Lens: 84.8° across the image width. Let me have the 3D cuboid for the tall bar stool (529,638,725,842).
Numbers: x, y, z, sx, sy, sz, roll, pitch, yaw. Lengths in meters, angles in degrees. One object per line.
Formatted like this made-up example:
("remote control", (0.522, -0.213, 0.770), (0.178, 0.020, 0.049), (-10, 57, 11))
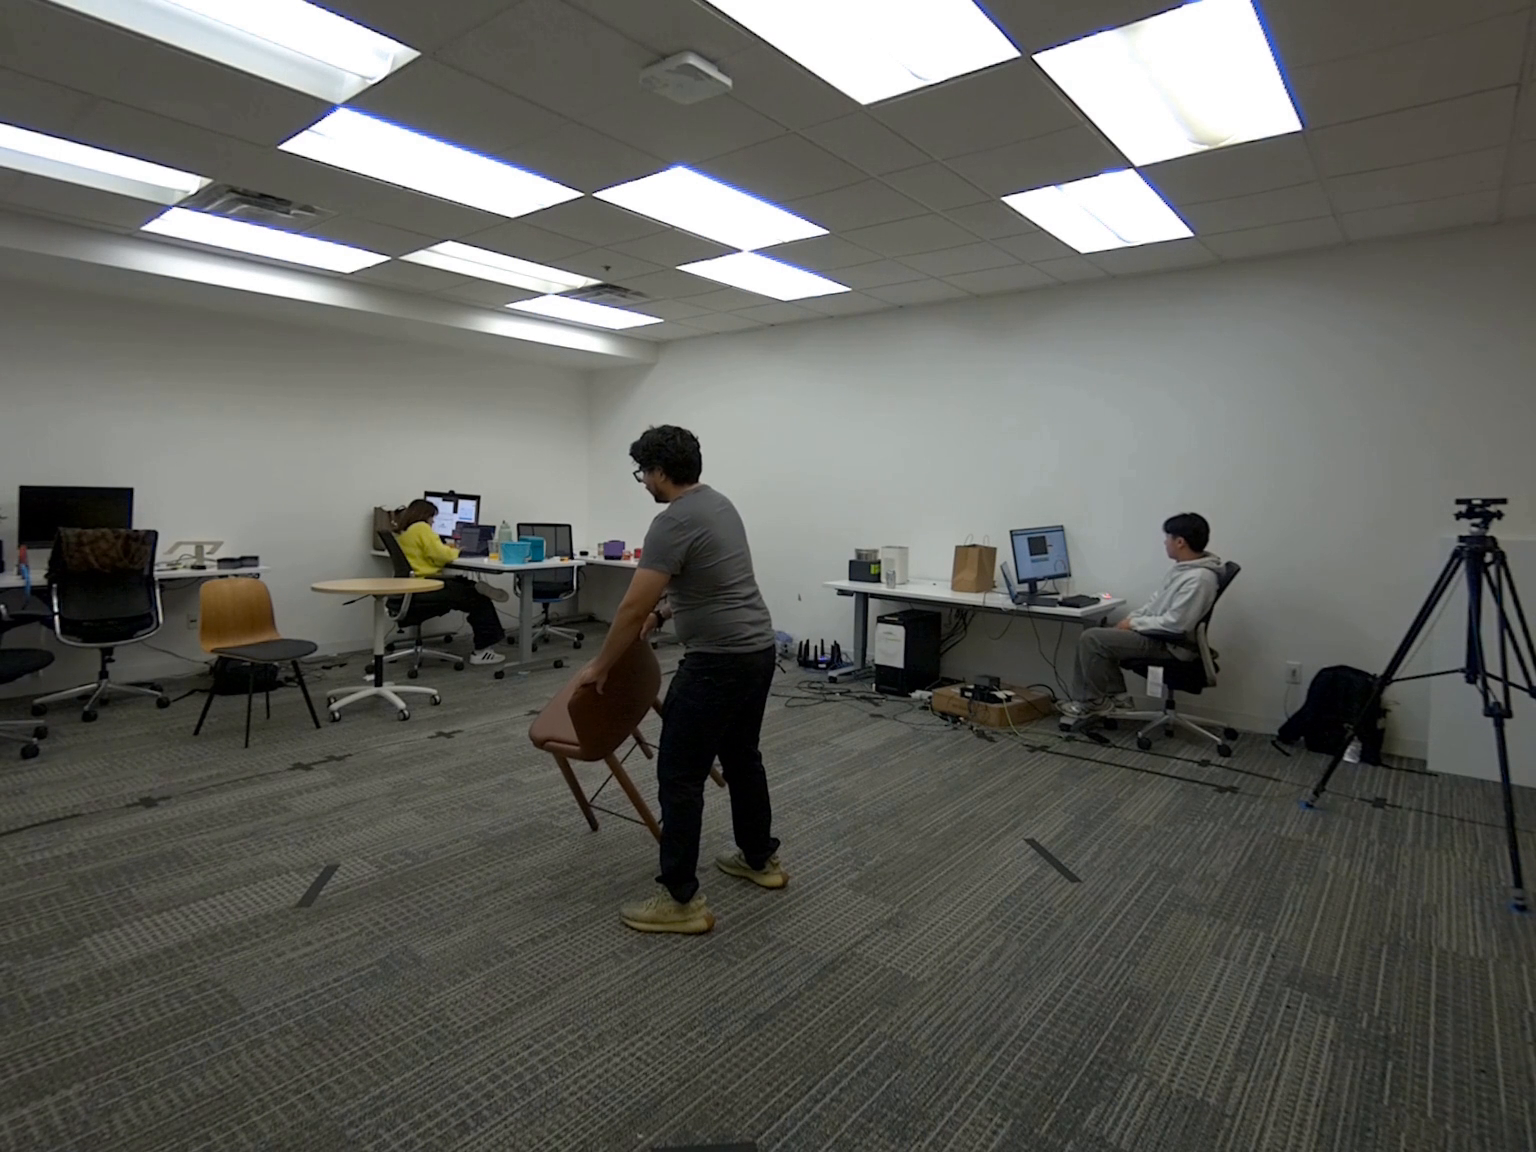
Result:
("tall bar stool", (-0.589, 0.592, 3.212), (0.484, 0.860, 0.456), (8, 42, 38))
